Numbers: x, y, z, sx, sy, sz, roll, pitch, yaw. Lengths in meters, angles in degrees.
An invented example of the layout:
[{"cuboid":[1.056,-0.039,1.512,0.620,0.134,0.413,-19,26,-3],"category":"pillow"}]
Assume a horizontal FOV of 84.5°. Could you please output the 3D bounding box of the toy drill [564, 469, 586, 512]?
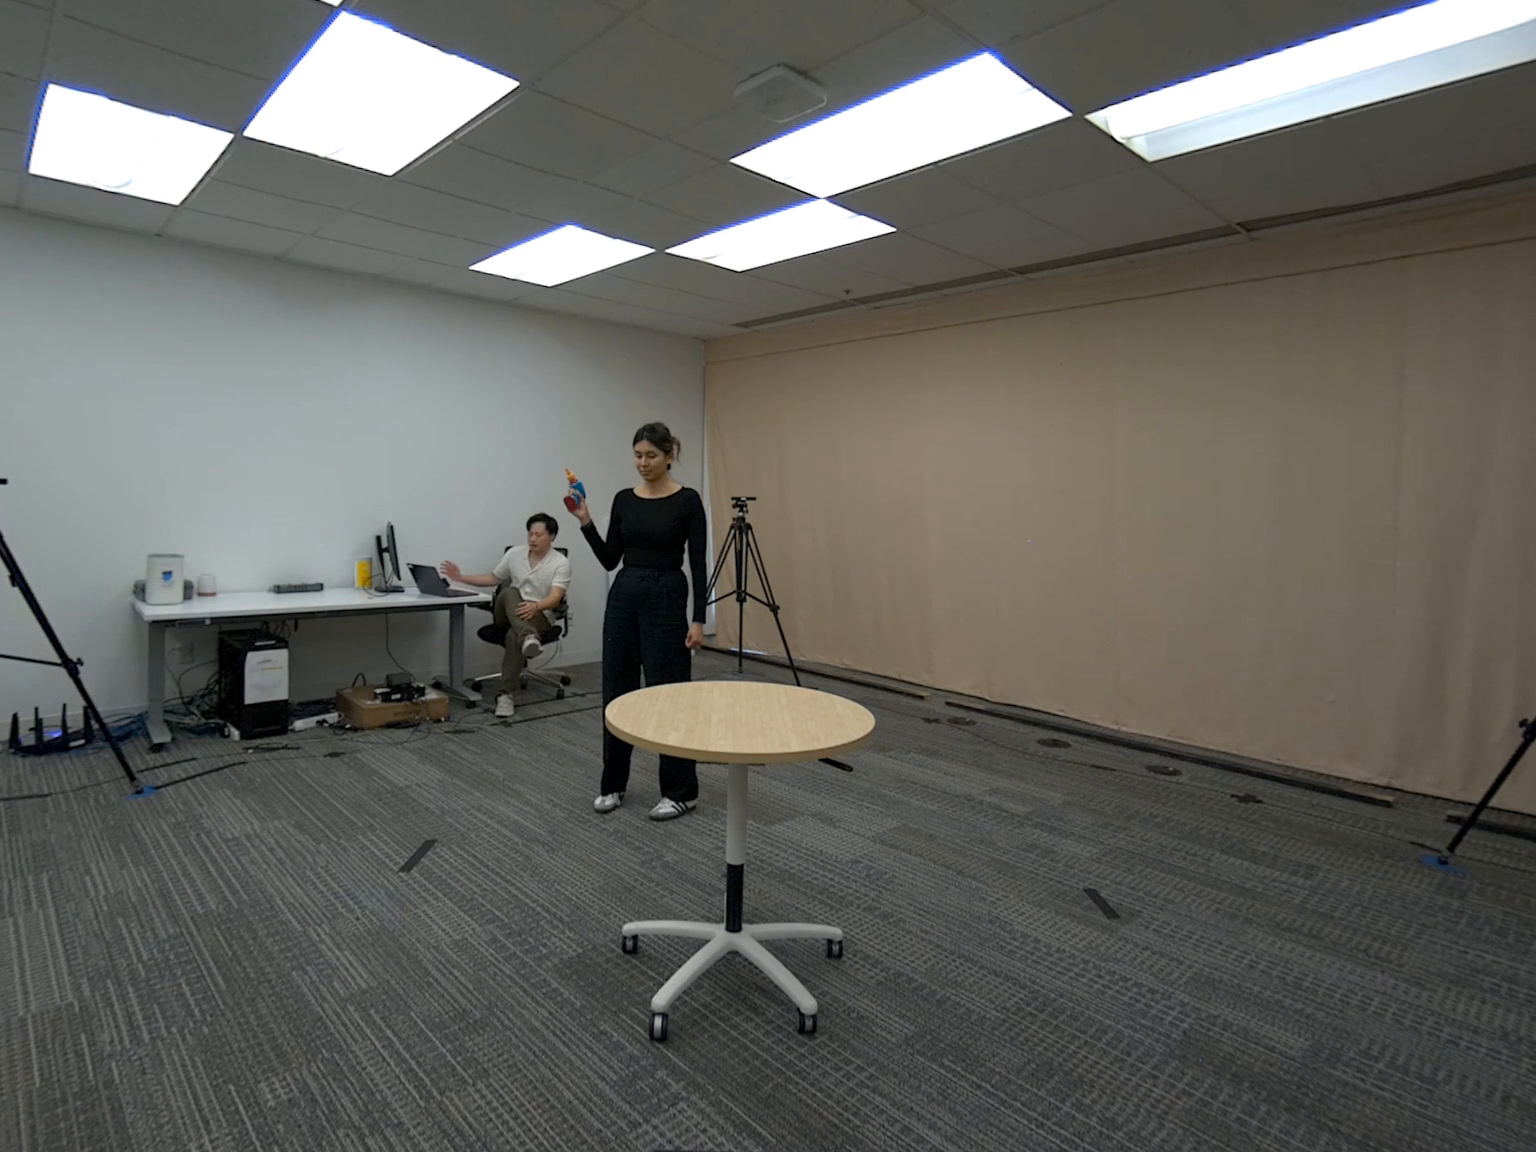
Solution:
[{"cuboid":[-0.856,-0.382,3.692,0.062,0.166,0.147,-10,27,18],"category":"toy drill"}]
